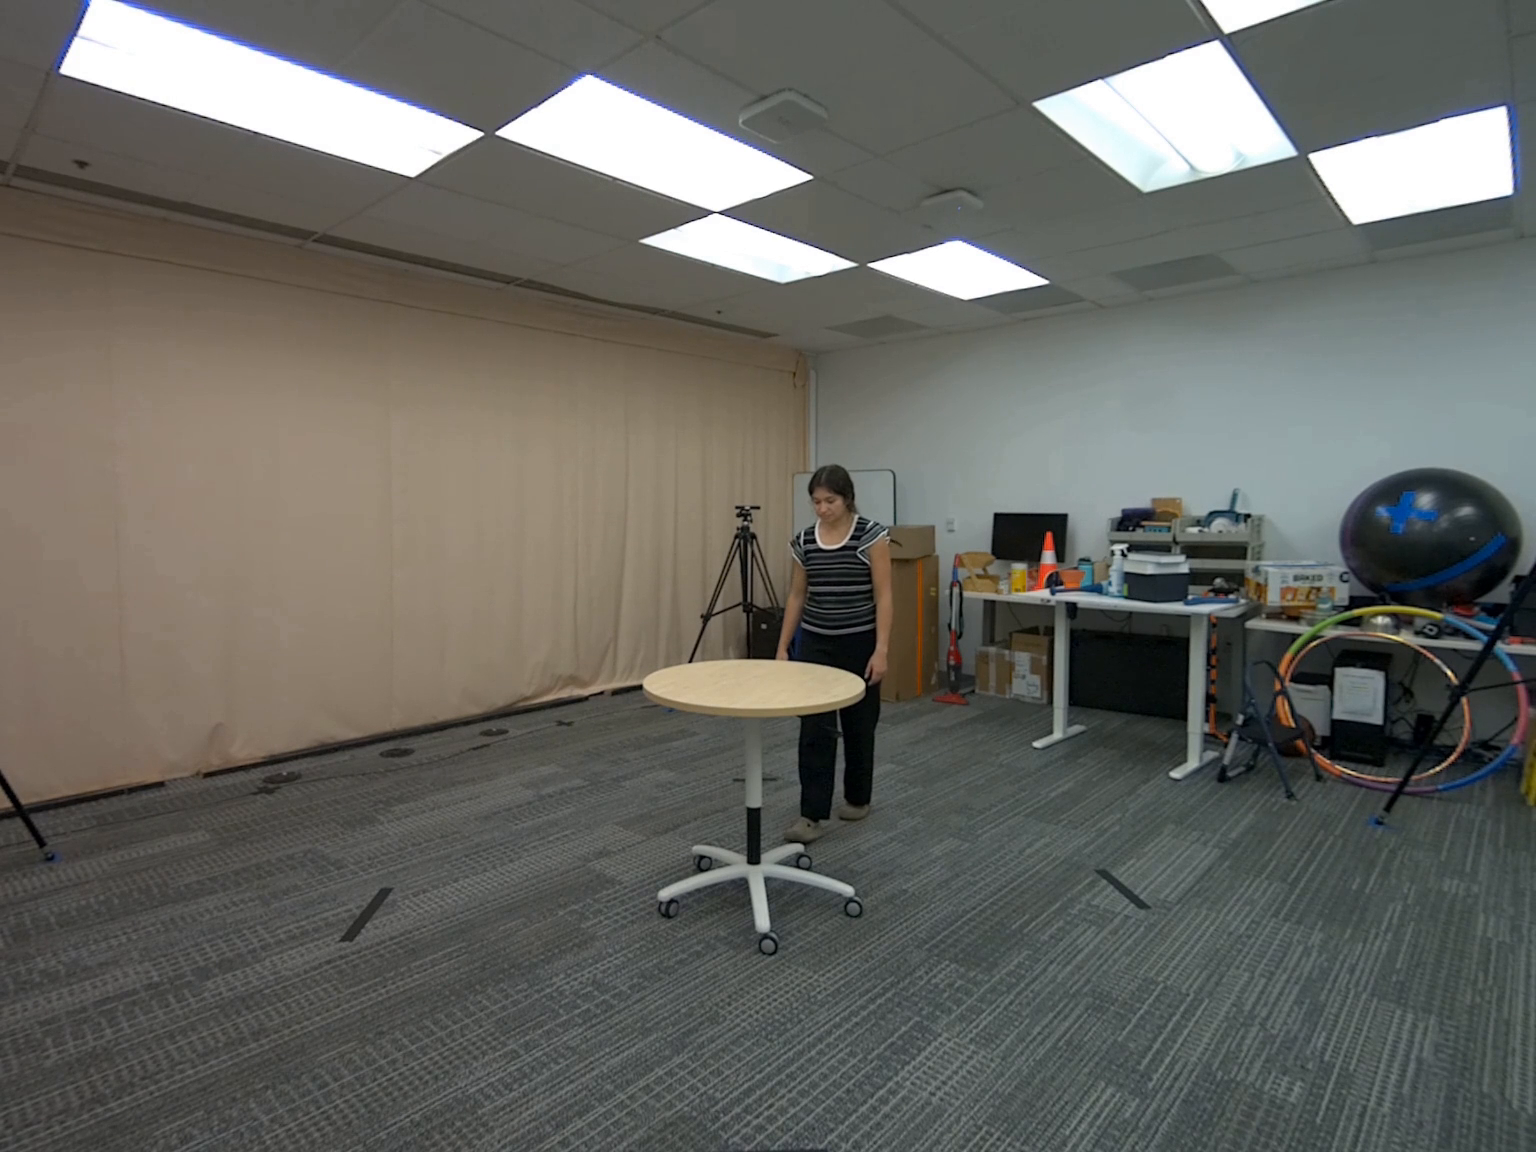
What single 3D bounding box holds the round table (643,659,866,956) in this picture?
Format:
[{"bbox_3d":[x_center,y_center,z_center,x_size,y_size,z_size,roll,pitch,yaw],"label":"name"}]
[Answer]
[{"bbox_3d":[-0.050,0.758,2.943,0.763,0.792,0.767,0,4,-2],"label":"round table"}]
